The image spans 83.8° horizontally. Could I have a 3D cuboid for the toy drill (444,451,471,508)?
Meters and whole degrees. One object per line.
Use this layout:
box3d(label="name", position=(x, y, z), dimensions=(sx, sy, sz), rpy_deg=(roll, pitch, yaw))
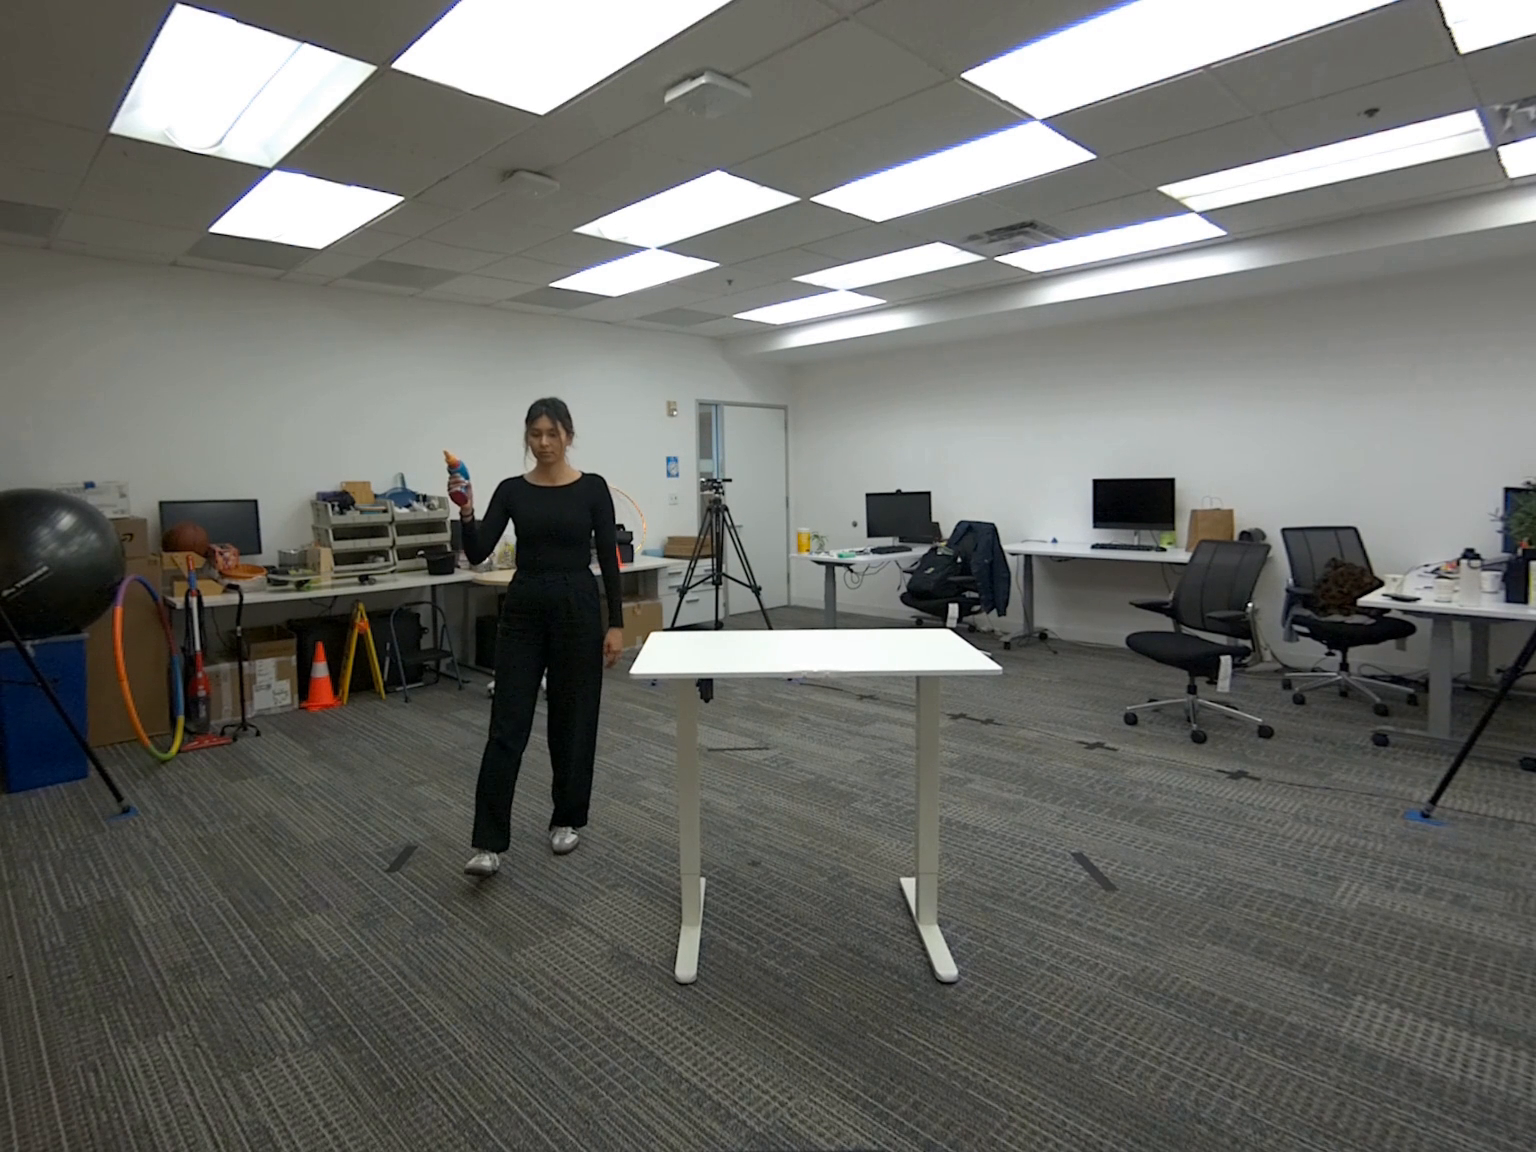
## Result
box3d(label="toy drill", position=(-1.049, -0.335, 2.855), dimensions=(0.061, 0.150, 0.164), rpy_deg=(-9, -38, 2))
